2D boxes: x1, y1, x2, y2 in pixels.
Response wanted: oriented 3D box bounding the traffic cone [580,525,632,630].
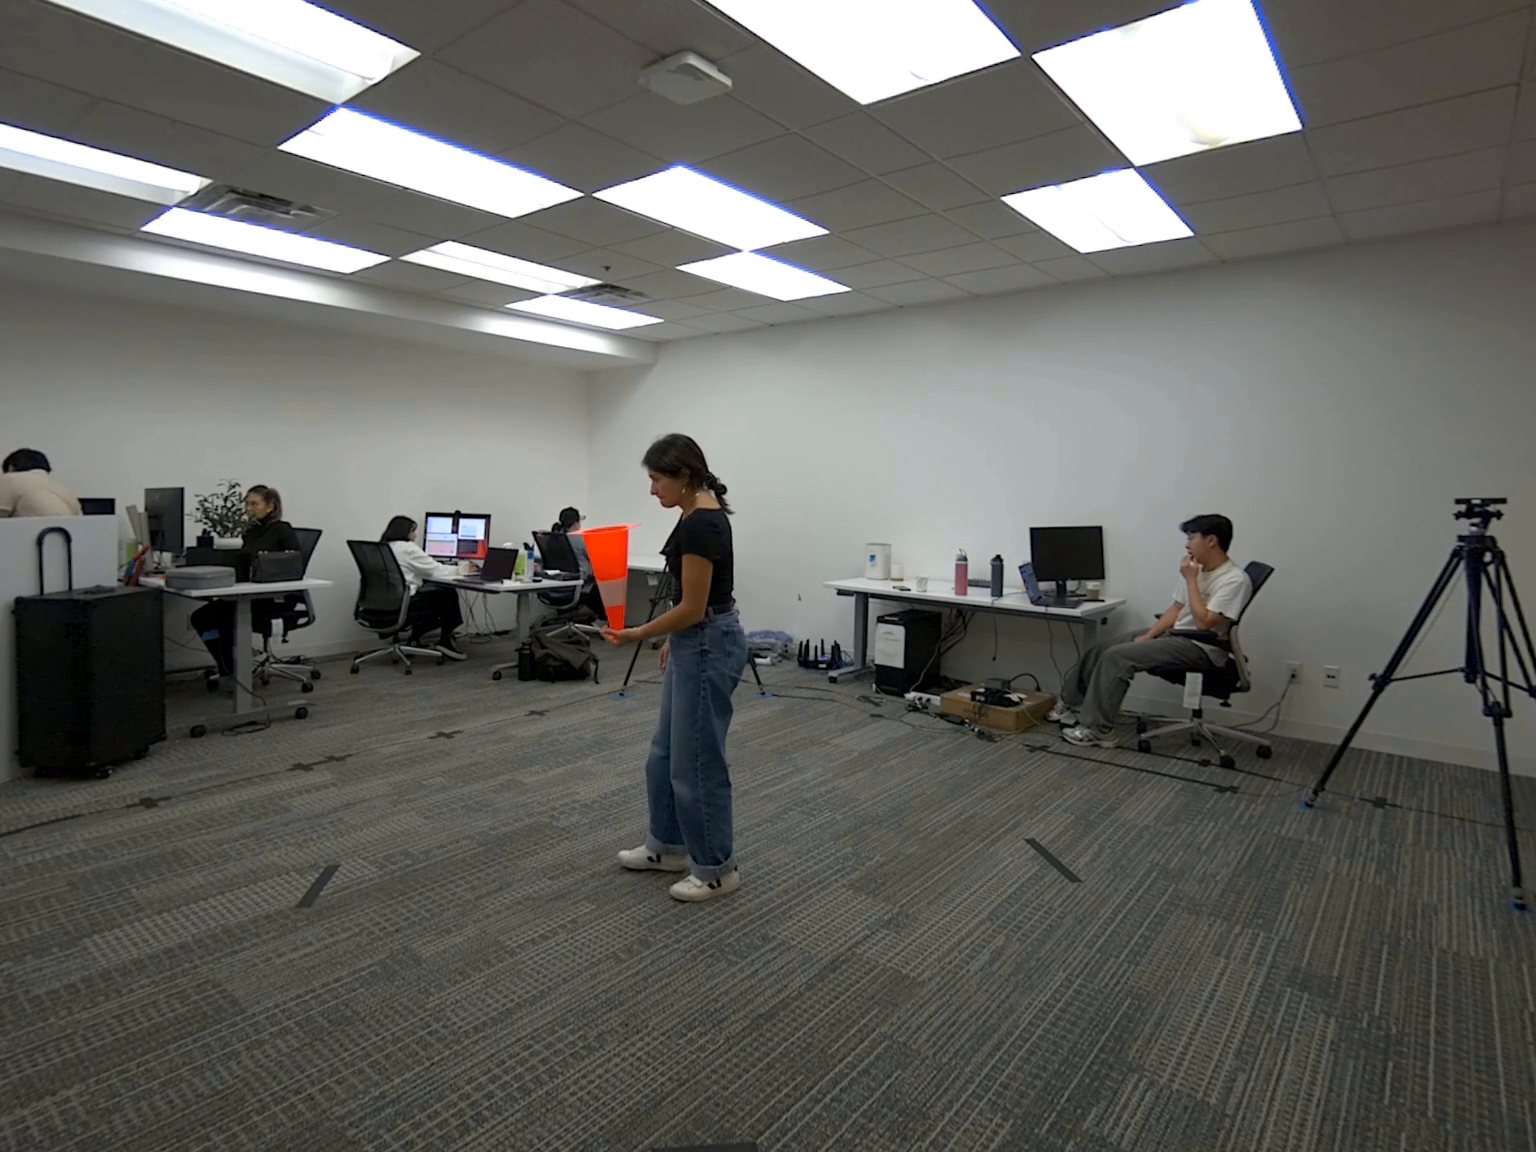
[{"bbox_3d":[-0.542,0.020,2.866,0.209,0.381,0.201,0,6,17],"label":"traffic cone"}]
